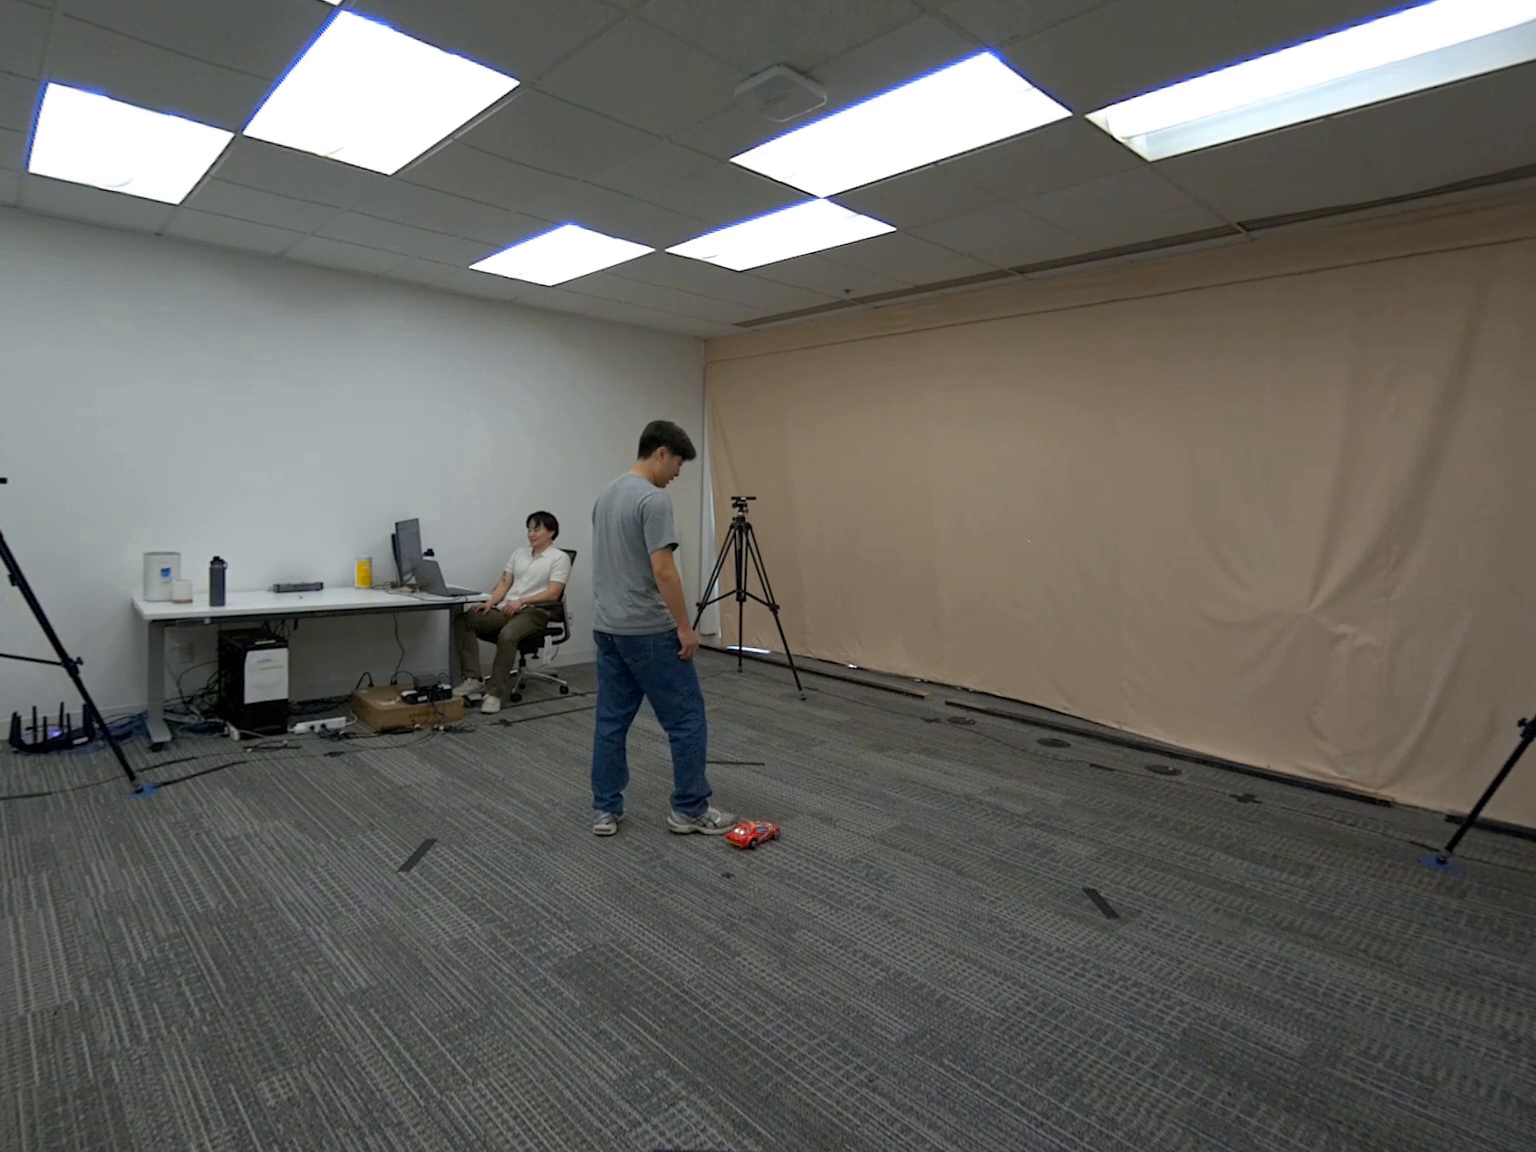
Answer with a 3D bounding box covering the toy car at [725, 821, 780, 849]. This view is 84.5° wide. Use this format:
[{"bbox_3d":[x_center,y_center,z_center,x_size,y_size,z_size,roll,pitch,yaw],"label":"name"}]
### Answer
[{"bbox_3d":[-0.080,1.048,3.416,0.134,0.083,0.247,6,-5,43],"label":"toy car"}]
